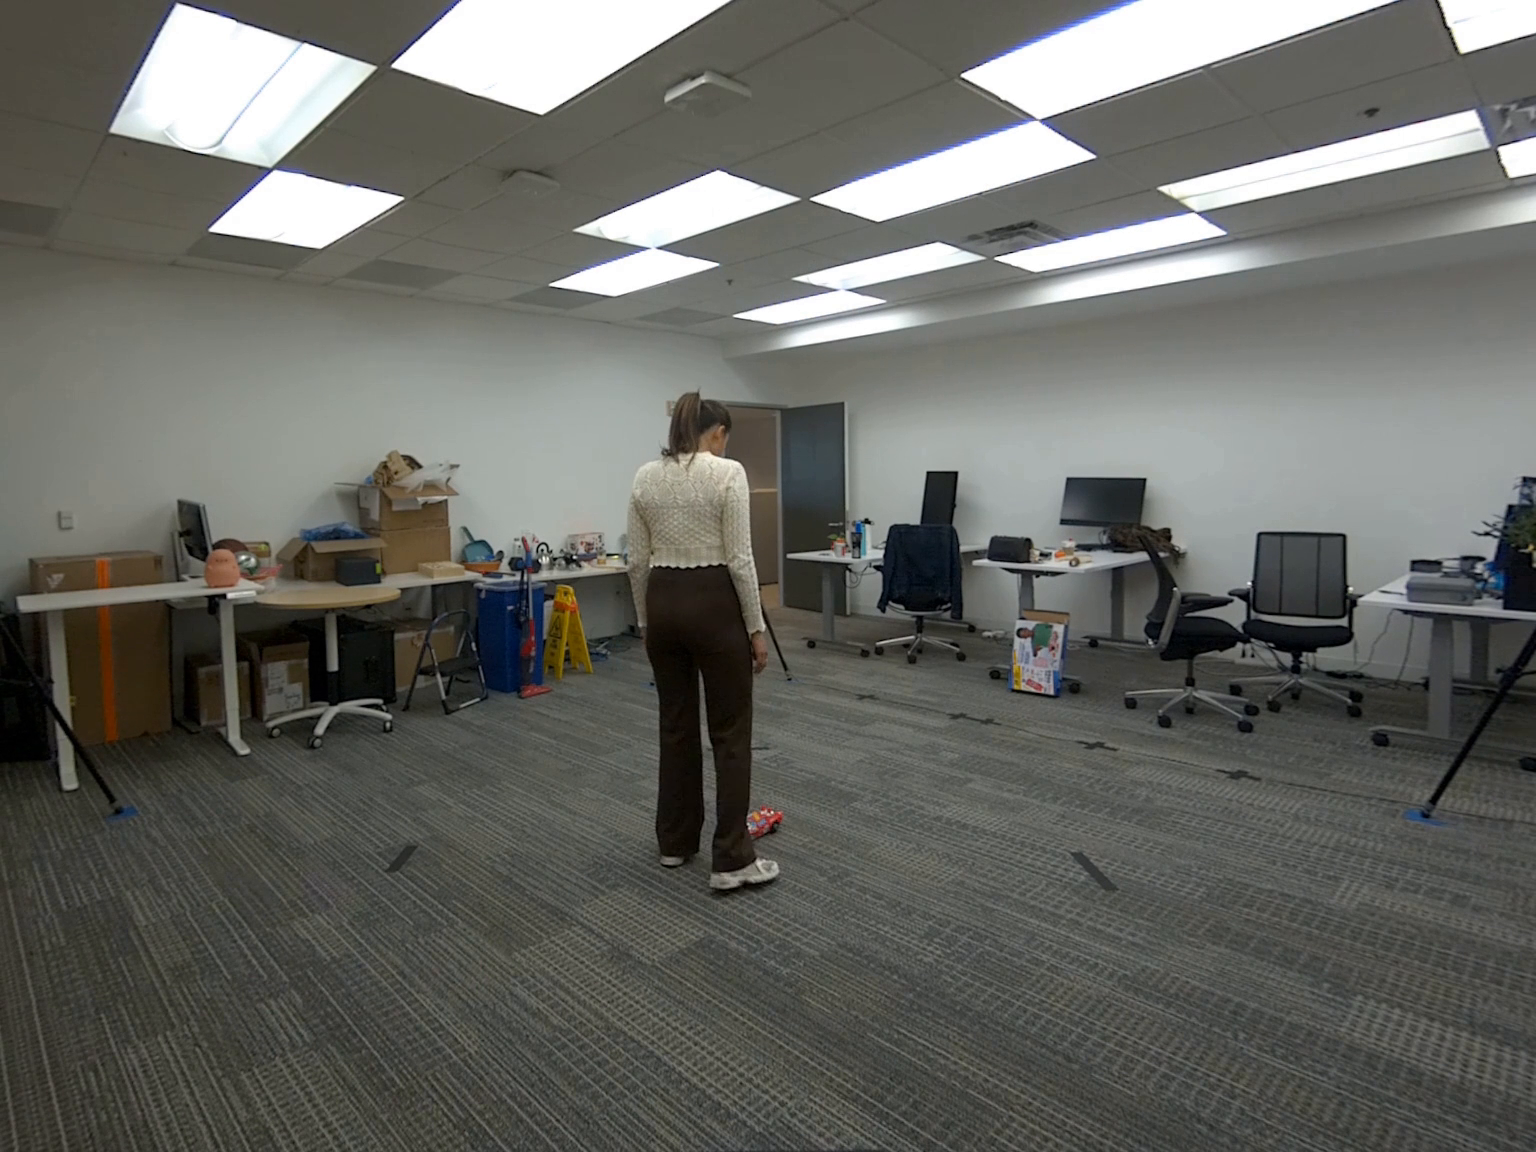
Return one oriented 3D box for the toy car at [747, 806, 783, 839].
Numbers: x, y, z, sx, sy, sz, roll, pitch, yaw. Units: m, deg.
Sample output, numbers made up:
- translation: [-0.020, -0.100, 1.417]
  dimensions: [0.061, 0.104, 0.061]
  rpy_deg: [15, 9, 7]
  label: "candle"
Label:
- translation: [-0.041, 0.987, 3.367]
  dimensions: [0.134, 0.082, 0.250]
  rpy_deg: [5, 20, 40]
  label: "toy car"
